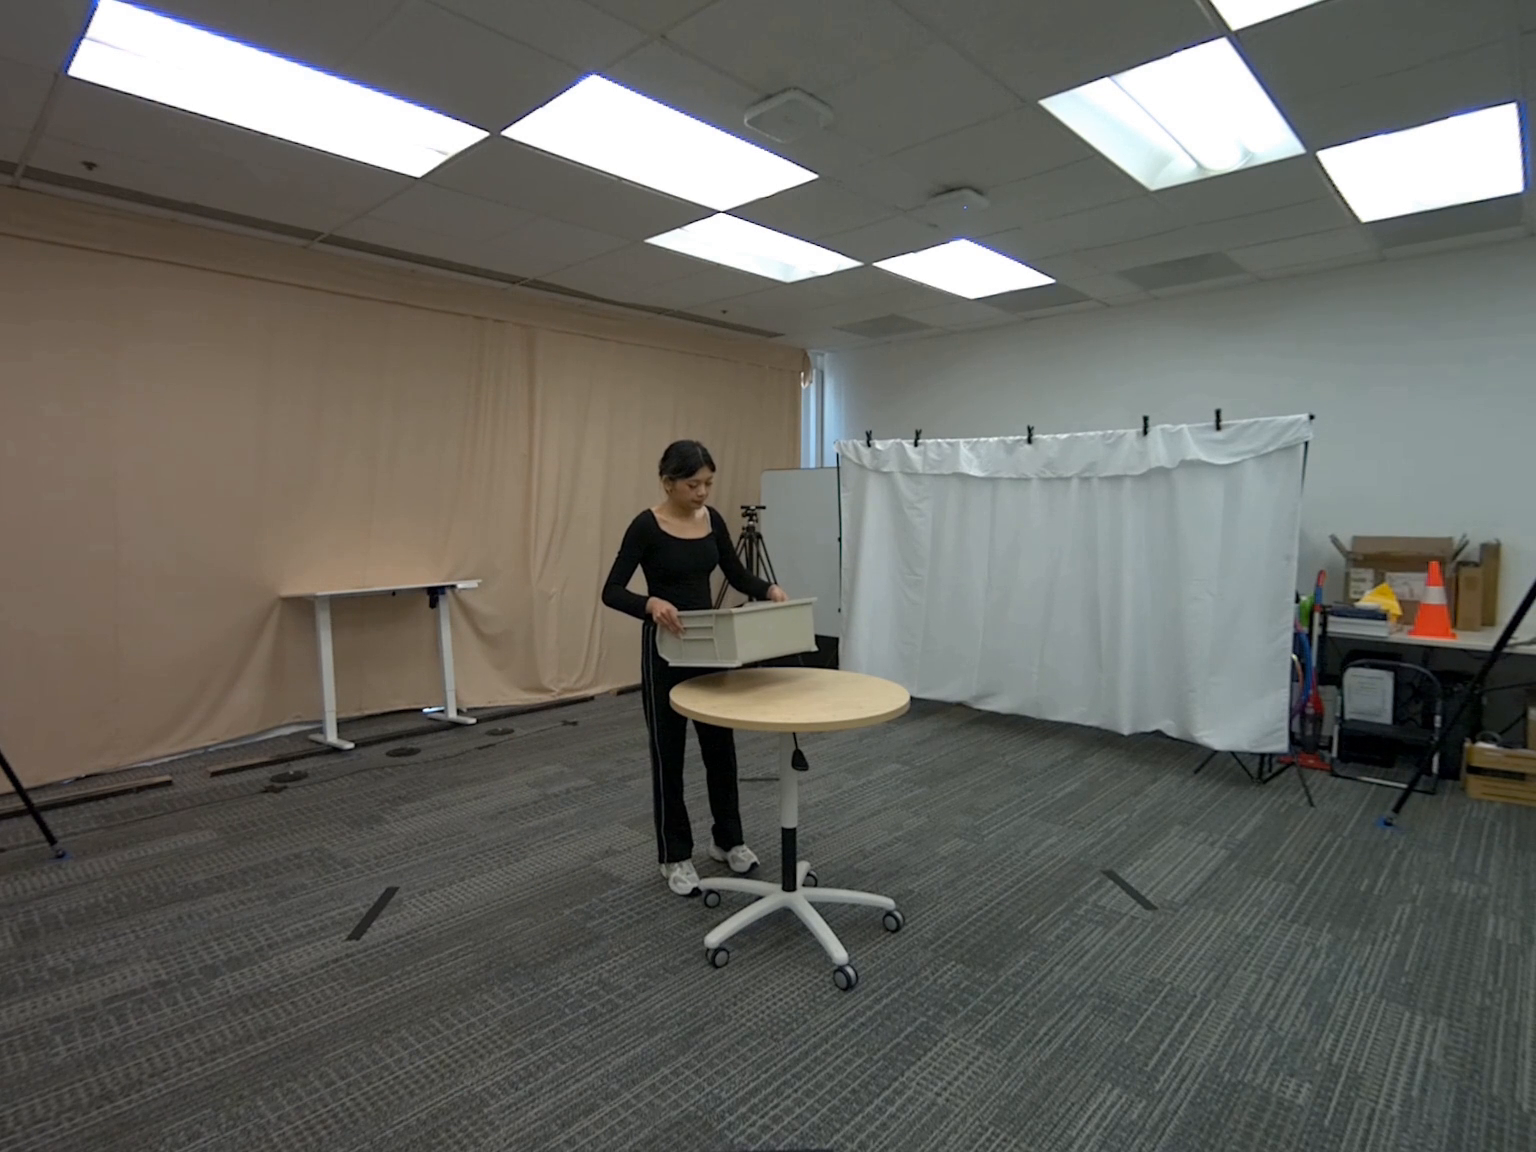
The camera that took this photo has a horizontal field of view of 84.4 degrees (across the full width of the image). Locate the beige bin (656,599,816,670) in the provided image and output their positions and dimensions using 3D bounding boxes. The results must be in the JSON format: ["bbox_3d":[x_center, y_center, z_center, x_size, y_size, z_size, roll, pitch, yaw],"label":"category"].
[{"bbox_3d":[-0.098,0.192,2.866,0.389,0.189,0.409,-3,0,45],"label":"beige bin"}]
